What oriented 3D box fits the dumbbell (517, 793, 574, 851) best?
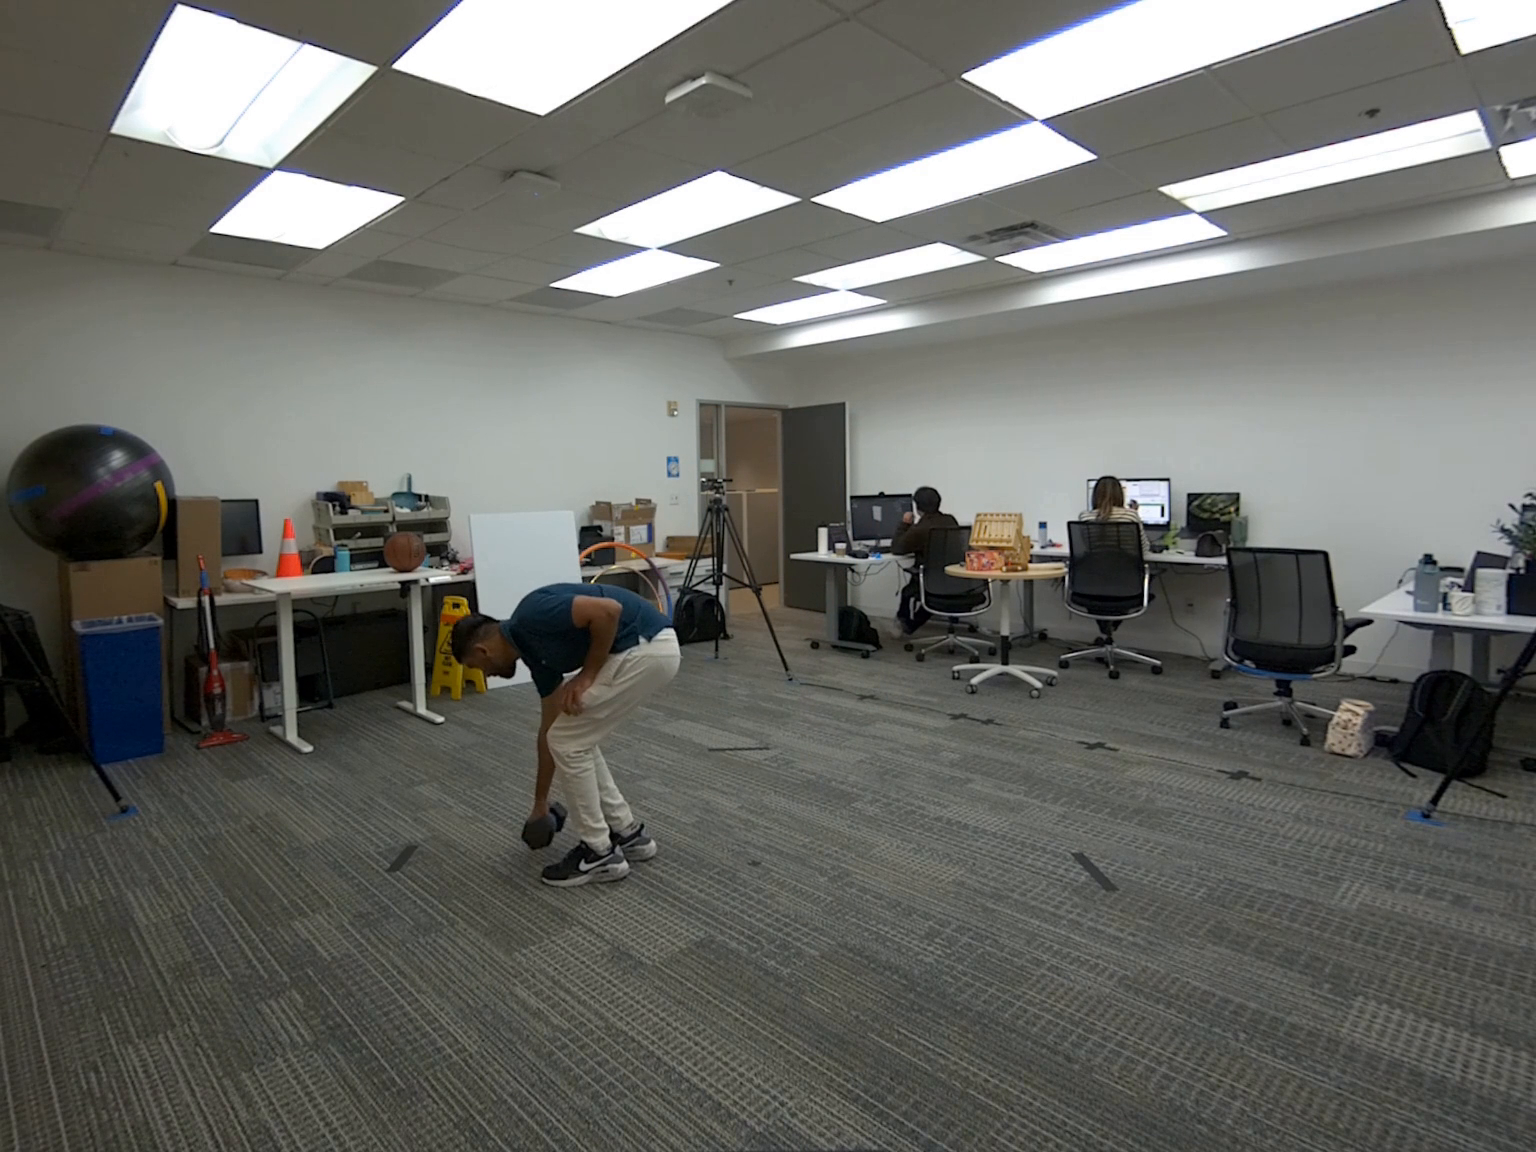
[{"bbox_3d":[-0.822,0.906,3.185,0.123,0.109,0.292,-17,-2,-3],"label":"dumbbell"}]
